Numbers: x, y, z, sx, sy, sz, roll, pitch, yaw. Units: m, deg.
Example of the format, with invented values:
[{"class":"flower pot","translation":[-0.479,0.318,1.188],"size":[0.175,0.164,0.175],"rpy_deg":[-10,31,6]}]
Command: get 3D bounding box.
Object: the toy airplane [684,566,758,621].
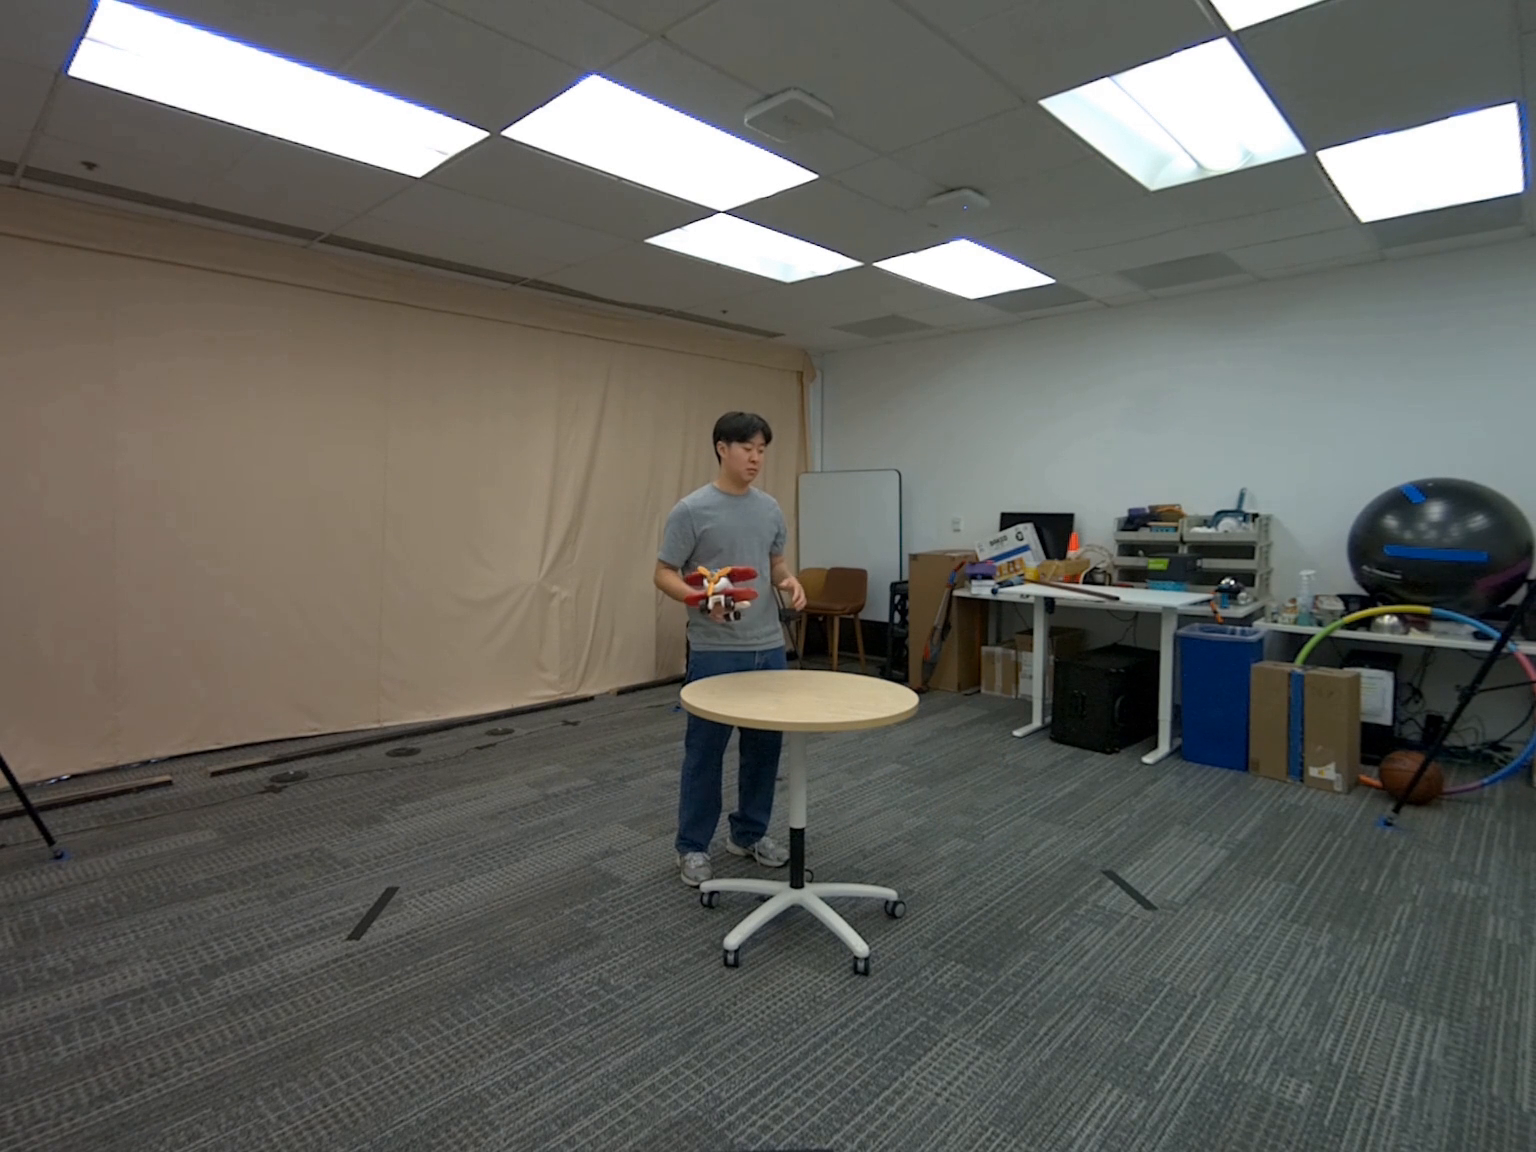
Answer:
[{"class":"toy airplane","translation":[-0.153,0.048,2.890],"size":[0.247,0.158,0.261],"rpy_deg":[0,-13,-16]}]
